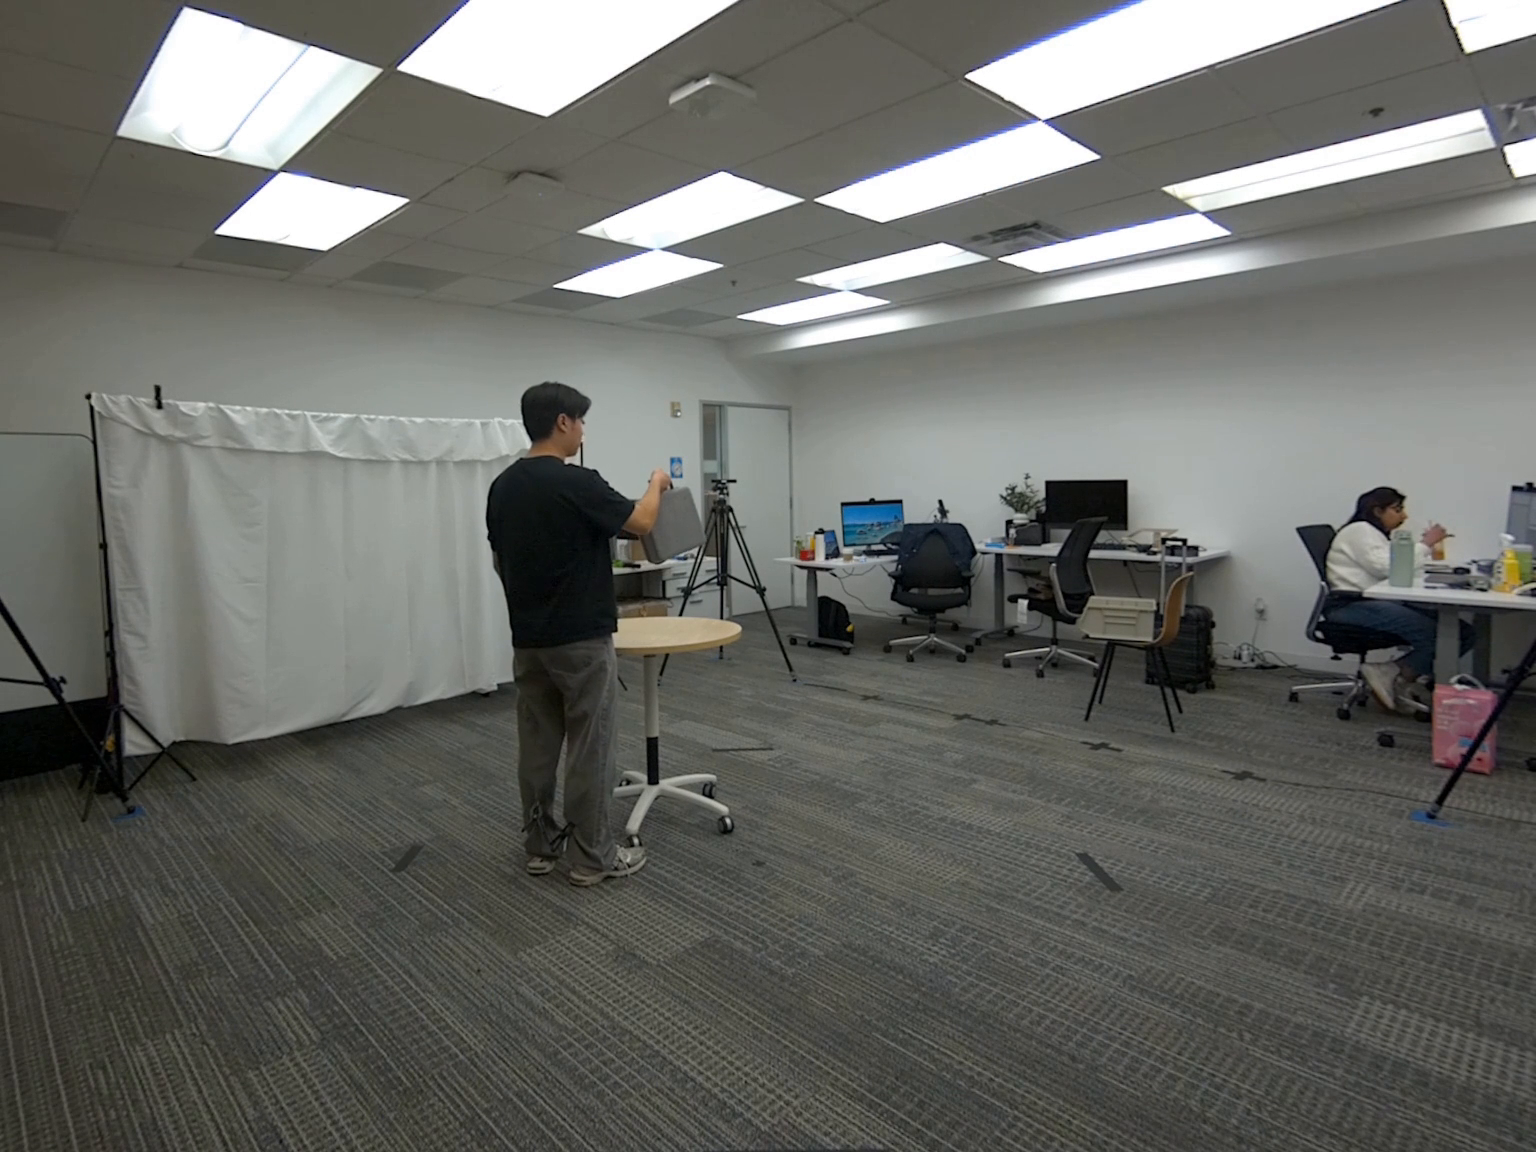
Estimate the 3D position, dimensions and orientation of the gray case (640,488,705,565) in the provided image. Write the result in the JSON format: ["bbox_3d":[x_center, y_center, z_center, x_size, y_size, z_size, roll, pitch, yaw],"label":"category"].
[{"bbox_3d":[-0.389,-0.210,3.352,0.259,0.284,0.105,-24,10,-36],"label":"gray case"}]
